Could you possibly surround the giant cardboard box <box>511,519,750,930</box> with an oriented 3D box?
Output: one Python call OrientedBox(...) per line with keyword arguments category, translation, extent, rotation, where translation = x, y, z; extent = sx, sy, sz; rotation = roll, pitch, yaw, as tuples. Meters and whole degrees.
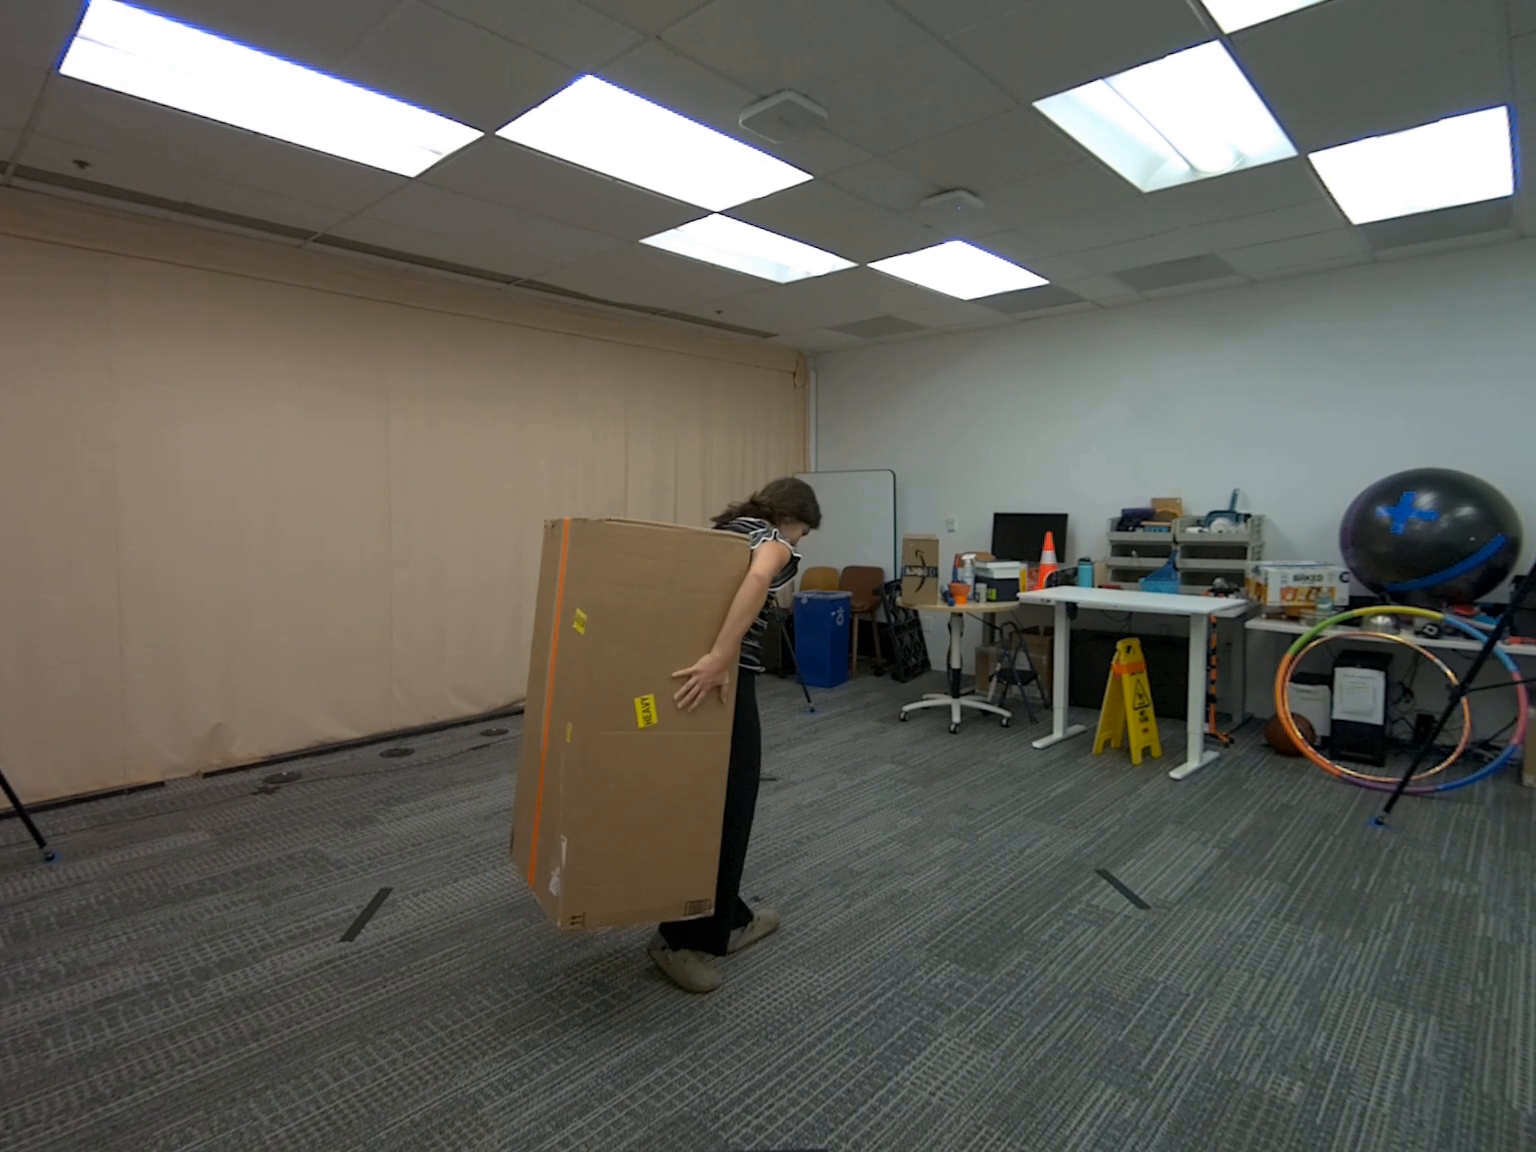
OrientedBox(category="giant cardboard box", translation=(-0.420, 0.374, 2.405), extent=(0.414, 1.027, 0.593), rotation=(7, -2, -29))
